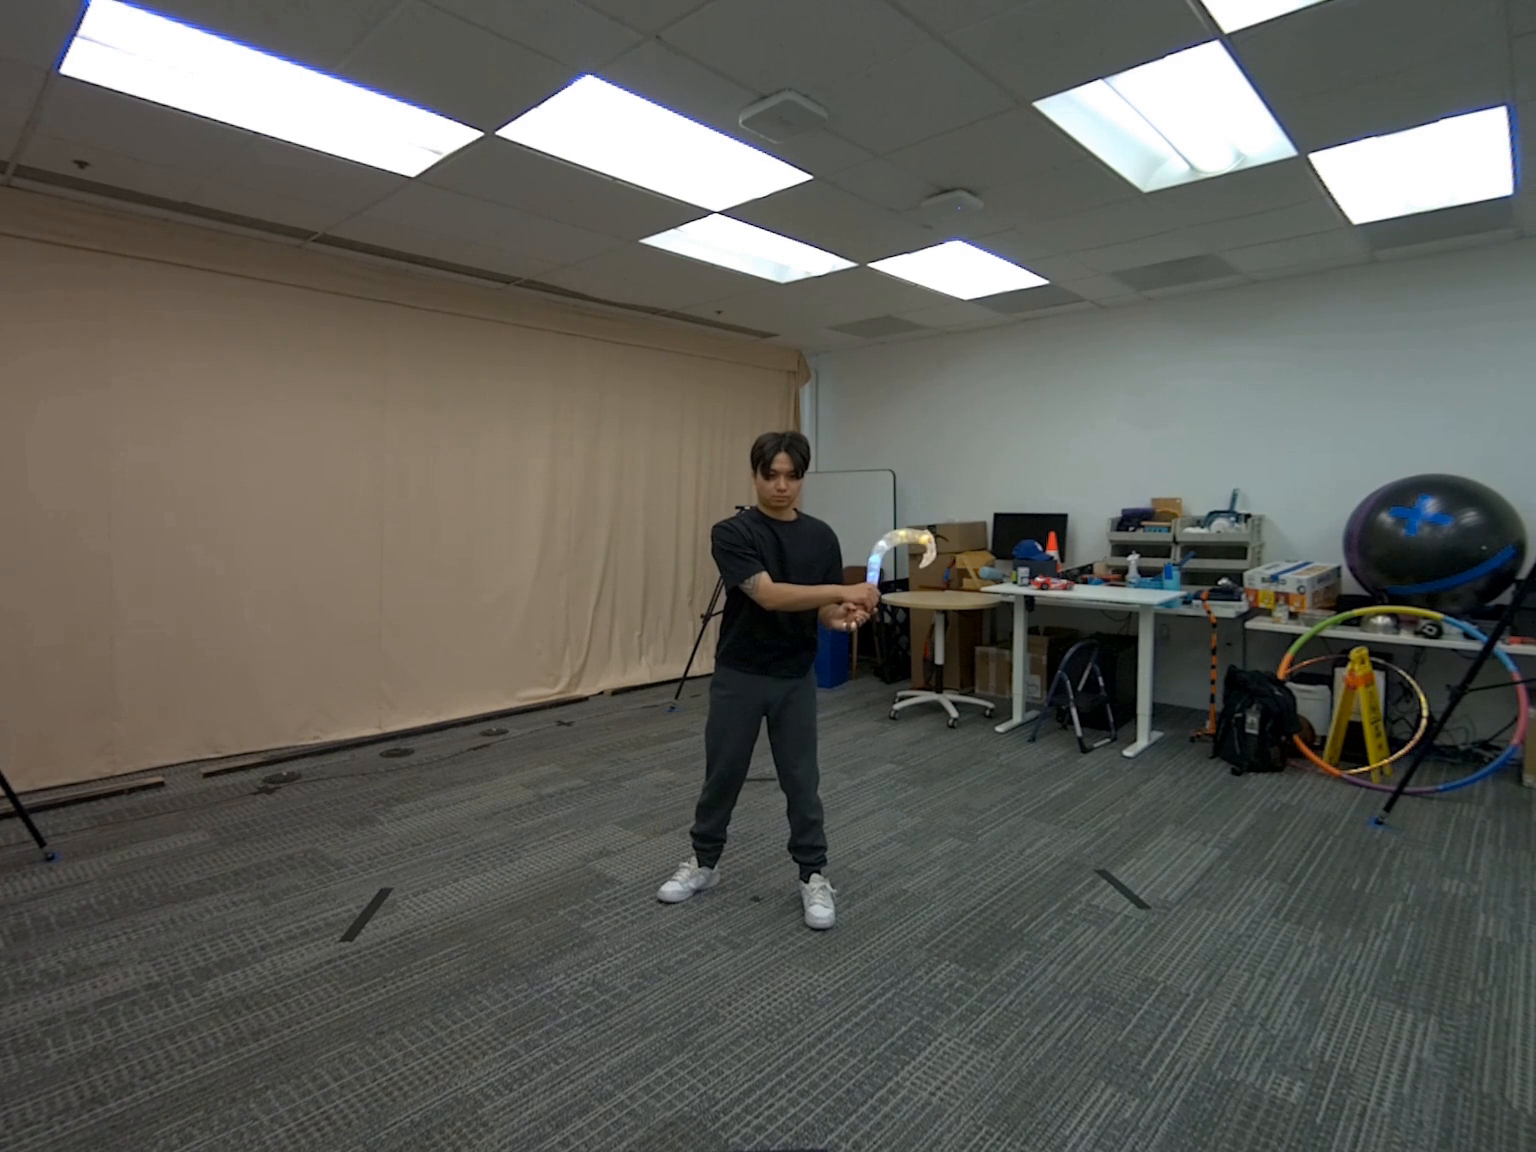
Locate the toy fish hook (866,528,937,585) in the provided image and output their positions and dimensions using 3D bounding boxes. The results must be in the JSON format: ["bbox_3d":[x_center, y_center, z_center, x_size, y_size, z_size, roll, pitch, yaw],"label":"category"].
[{"bbox_3d":[0.401,0.026,2.692,0.232,0.047,0.505,2,44,38],"label":"toy fish hook"}]
